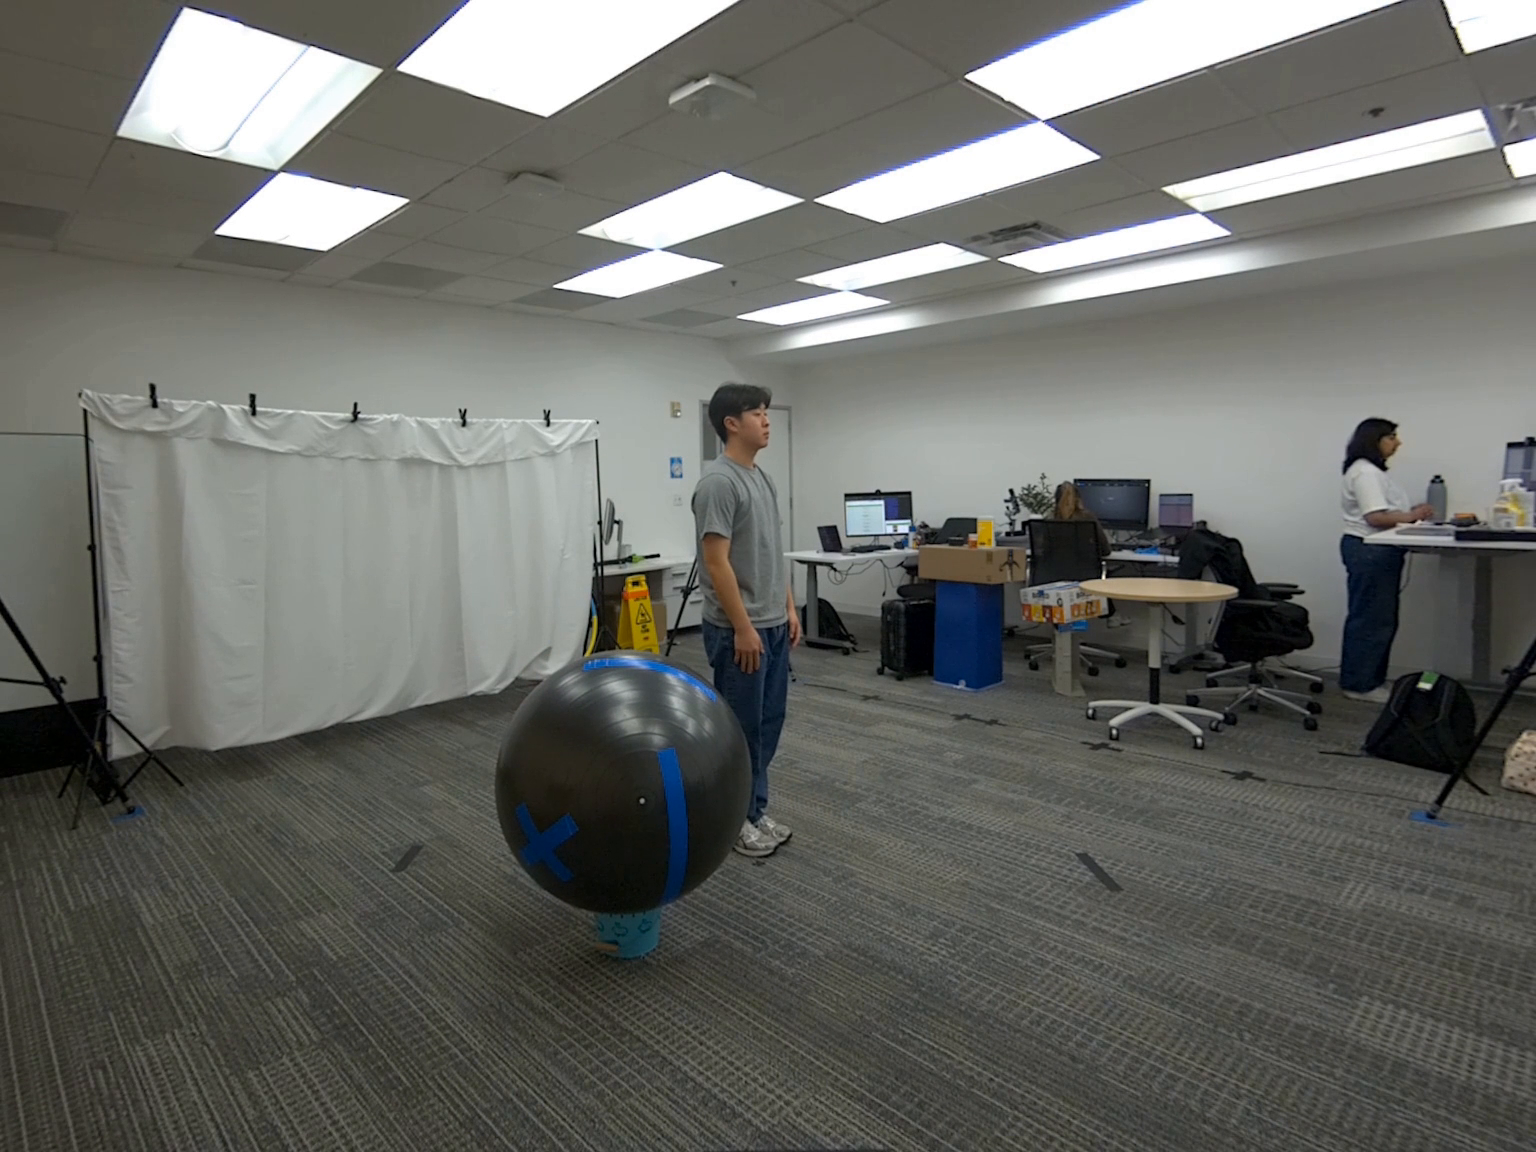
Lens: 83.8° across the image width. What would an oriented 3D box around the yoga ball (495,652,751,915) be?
[{"bbox_3d":[-0.439,0.610,2.566,0.757,0.755,0.762,-1,5,-2],"label":"yoga ball"}]
